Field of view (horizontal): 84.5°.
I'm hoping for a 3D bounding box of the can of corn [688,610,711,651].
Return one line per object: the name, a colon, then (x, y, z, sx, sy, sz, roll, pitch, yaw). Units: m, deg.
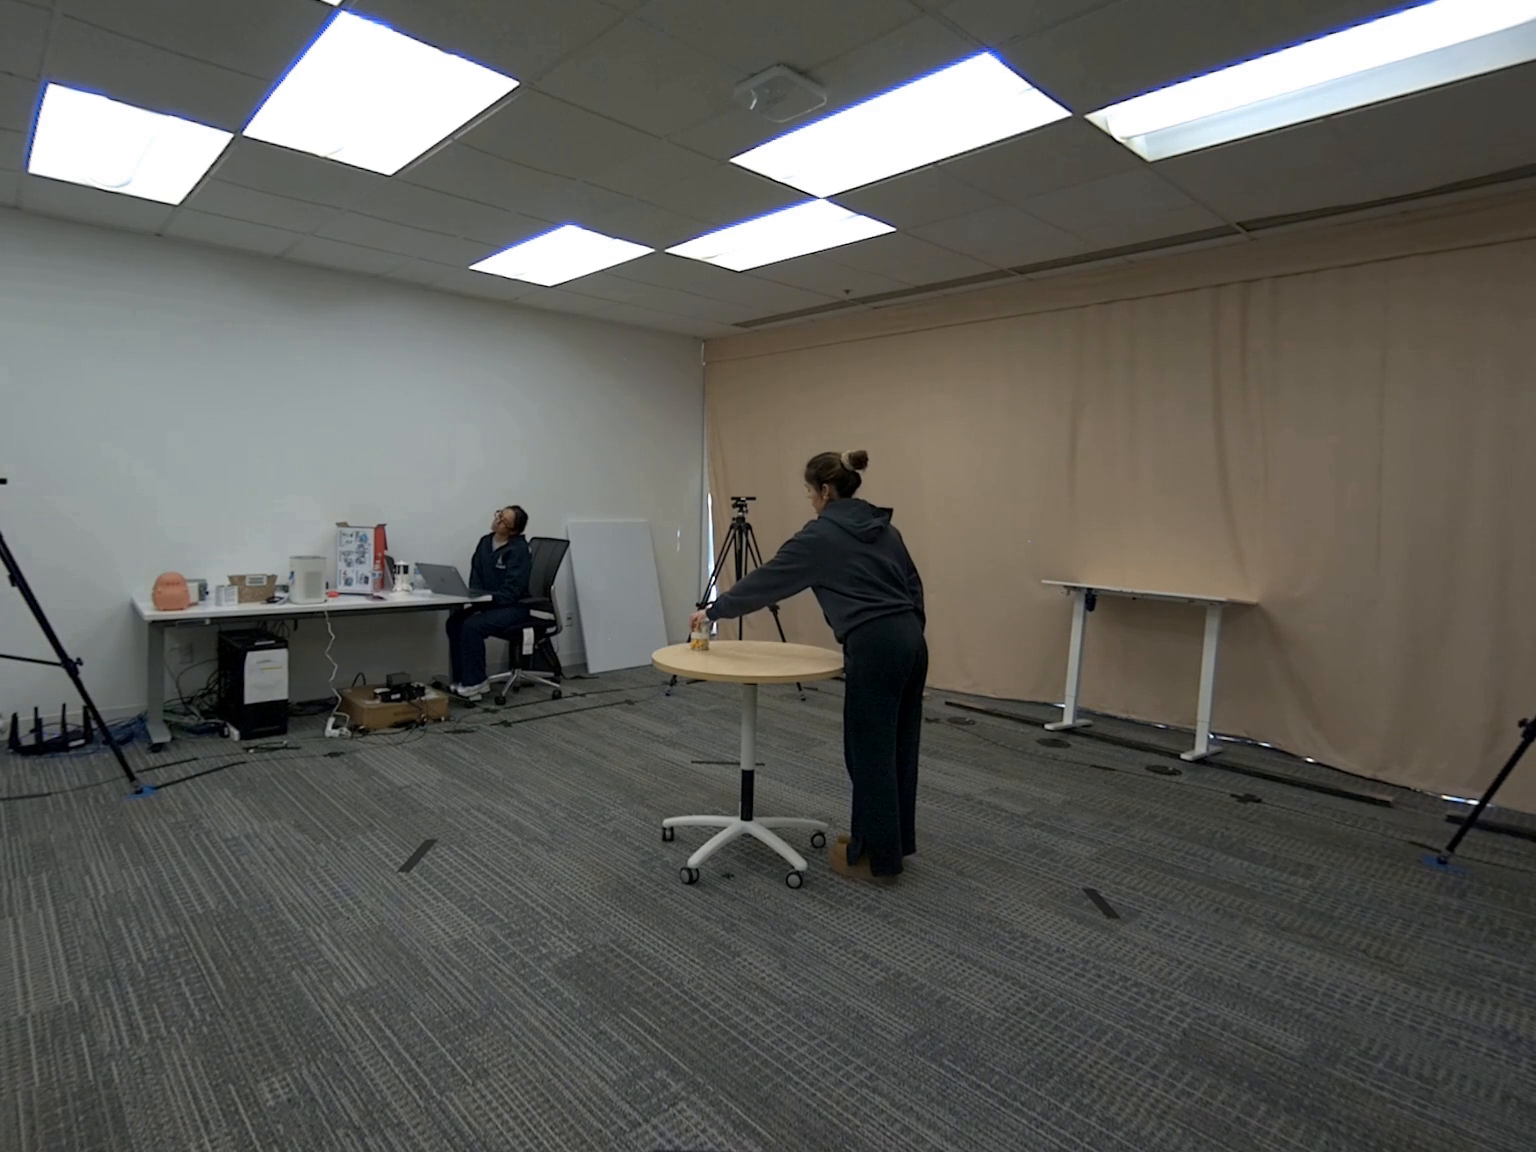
can of corn: (-0.276, 0.227, 3.417, 0.074, 0.110, 0.074, 3, 7, -2)
